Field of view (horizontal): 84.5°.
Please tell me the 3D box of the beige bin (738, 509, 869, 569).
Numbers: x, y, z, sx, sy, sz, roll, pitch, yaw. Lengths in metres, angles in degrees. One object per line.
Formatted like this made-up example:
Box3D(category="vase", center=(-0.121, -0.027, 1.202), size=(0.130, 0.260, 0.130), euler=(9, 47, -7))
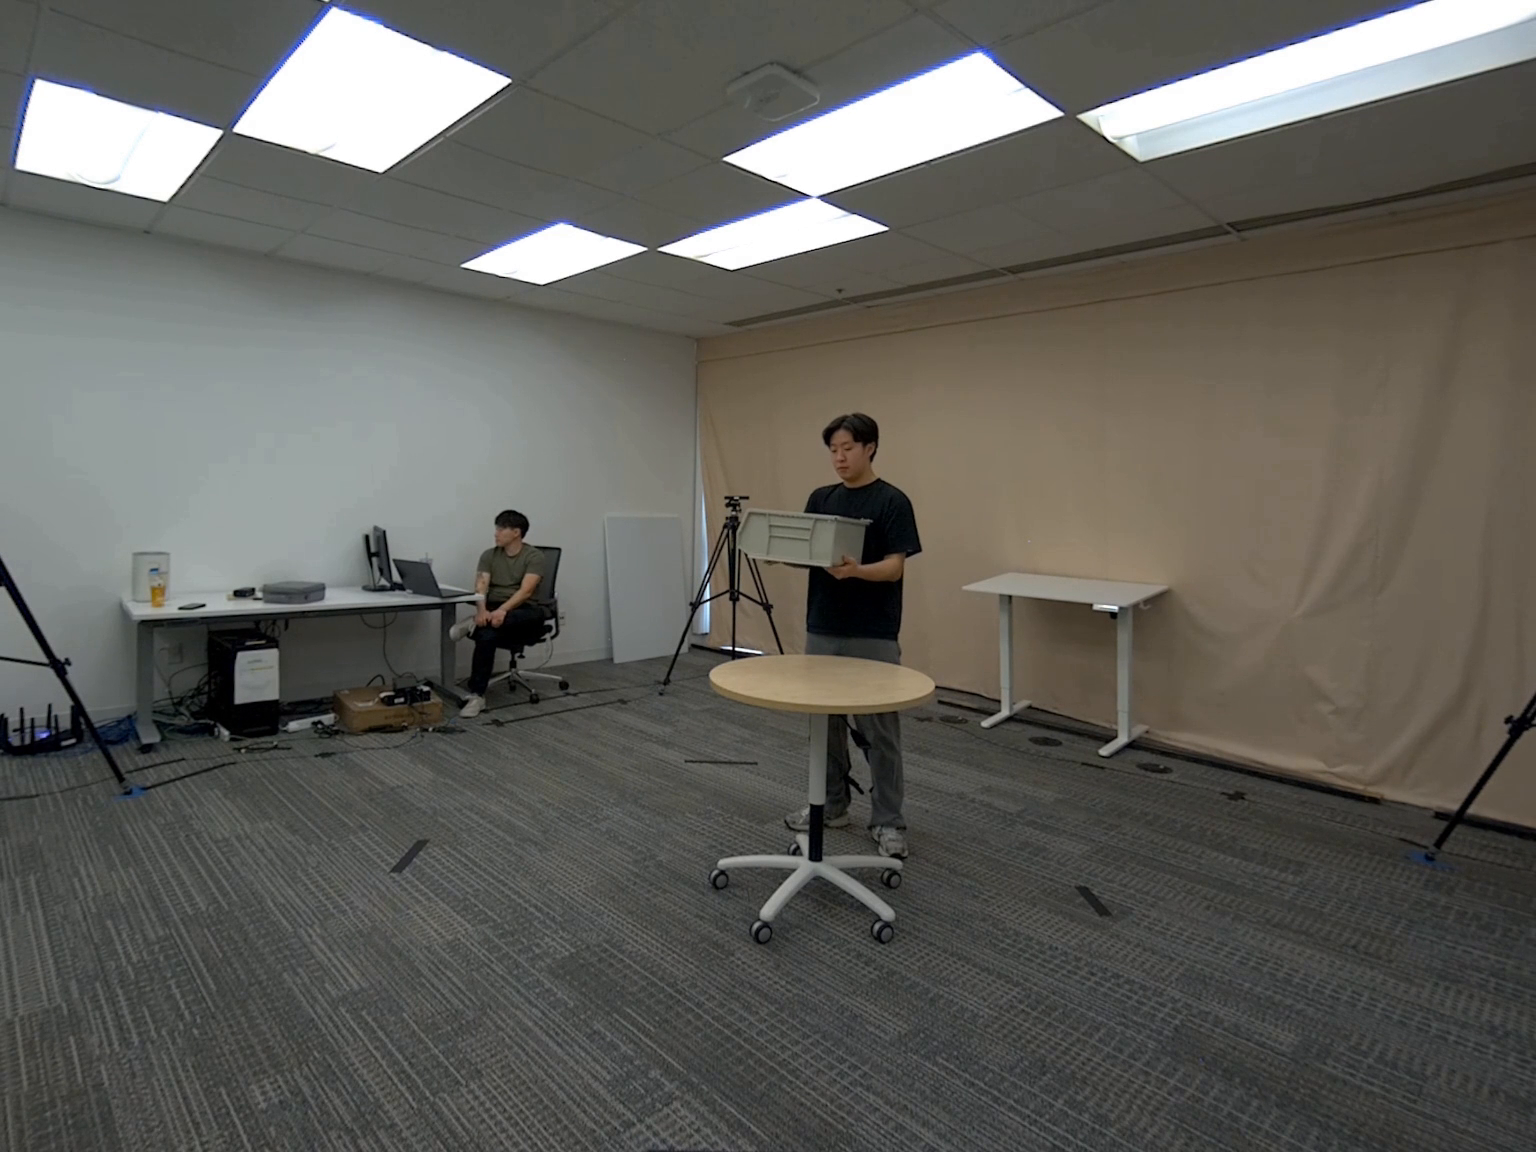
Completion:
Box3D(category="beige bin", center=(0.122, -0.140, 3.186), size=(0.385, 0.188, 0.414), euler=(10, 5, 25))
